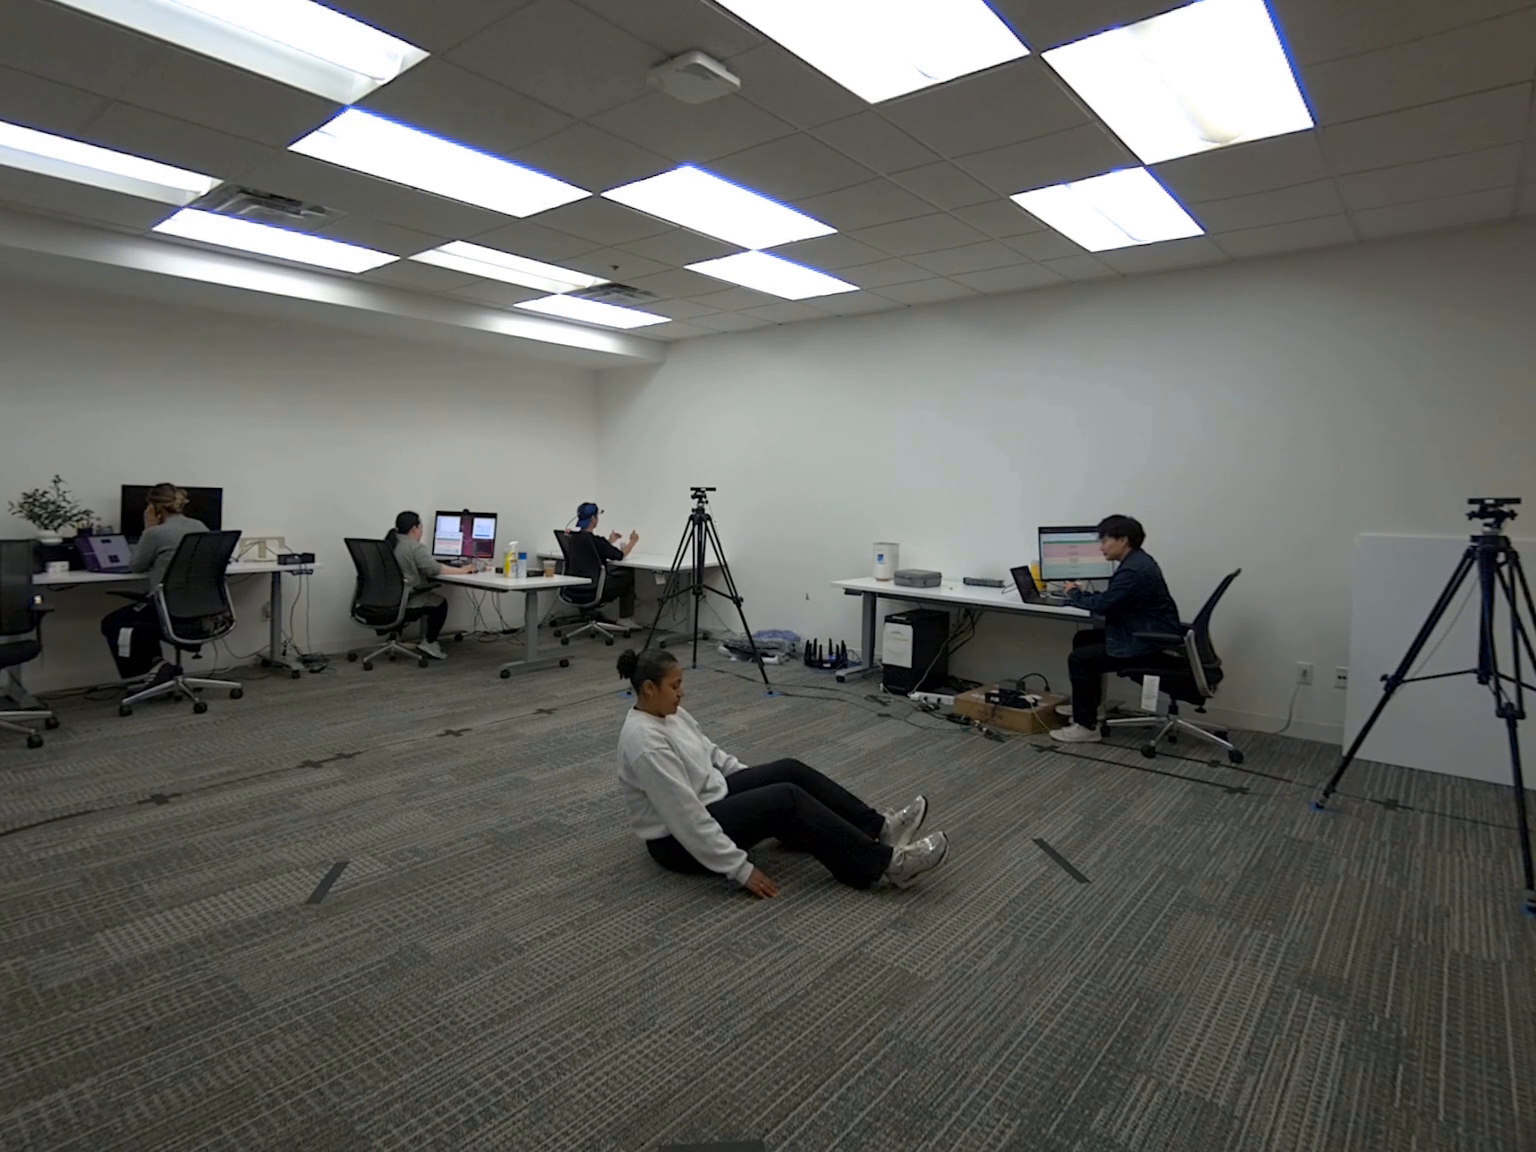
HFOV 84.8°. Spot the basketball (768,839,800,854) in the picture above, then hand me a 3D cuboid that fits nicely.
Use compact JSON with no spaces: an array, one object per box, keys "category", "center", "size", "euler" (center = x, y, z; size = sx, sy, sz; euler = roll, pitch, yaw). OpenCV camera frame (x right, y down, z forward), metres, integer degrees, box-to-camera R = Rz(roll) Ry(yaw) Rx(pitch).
[{"category":"basketball","center":[0.103,0.928,3.323],"size":[0.235,0.235,0.237],"euler":[1,4,-2]}]
